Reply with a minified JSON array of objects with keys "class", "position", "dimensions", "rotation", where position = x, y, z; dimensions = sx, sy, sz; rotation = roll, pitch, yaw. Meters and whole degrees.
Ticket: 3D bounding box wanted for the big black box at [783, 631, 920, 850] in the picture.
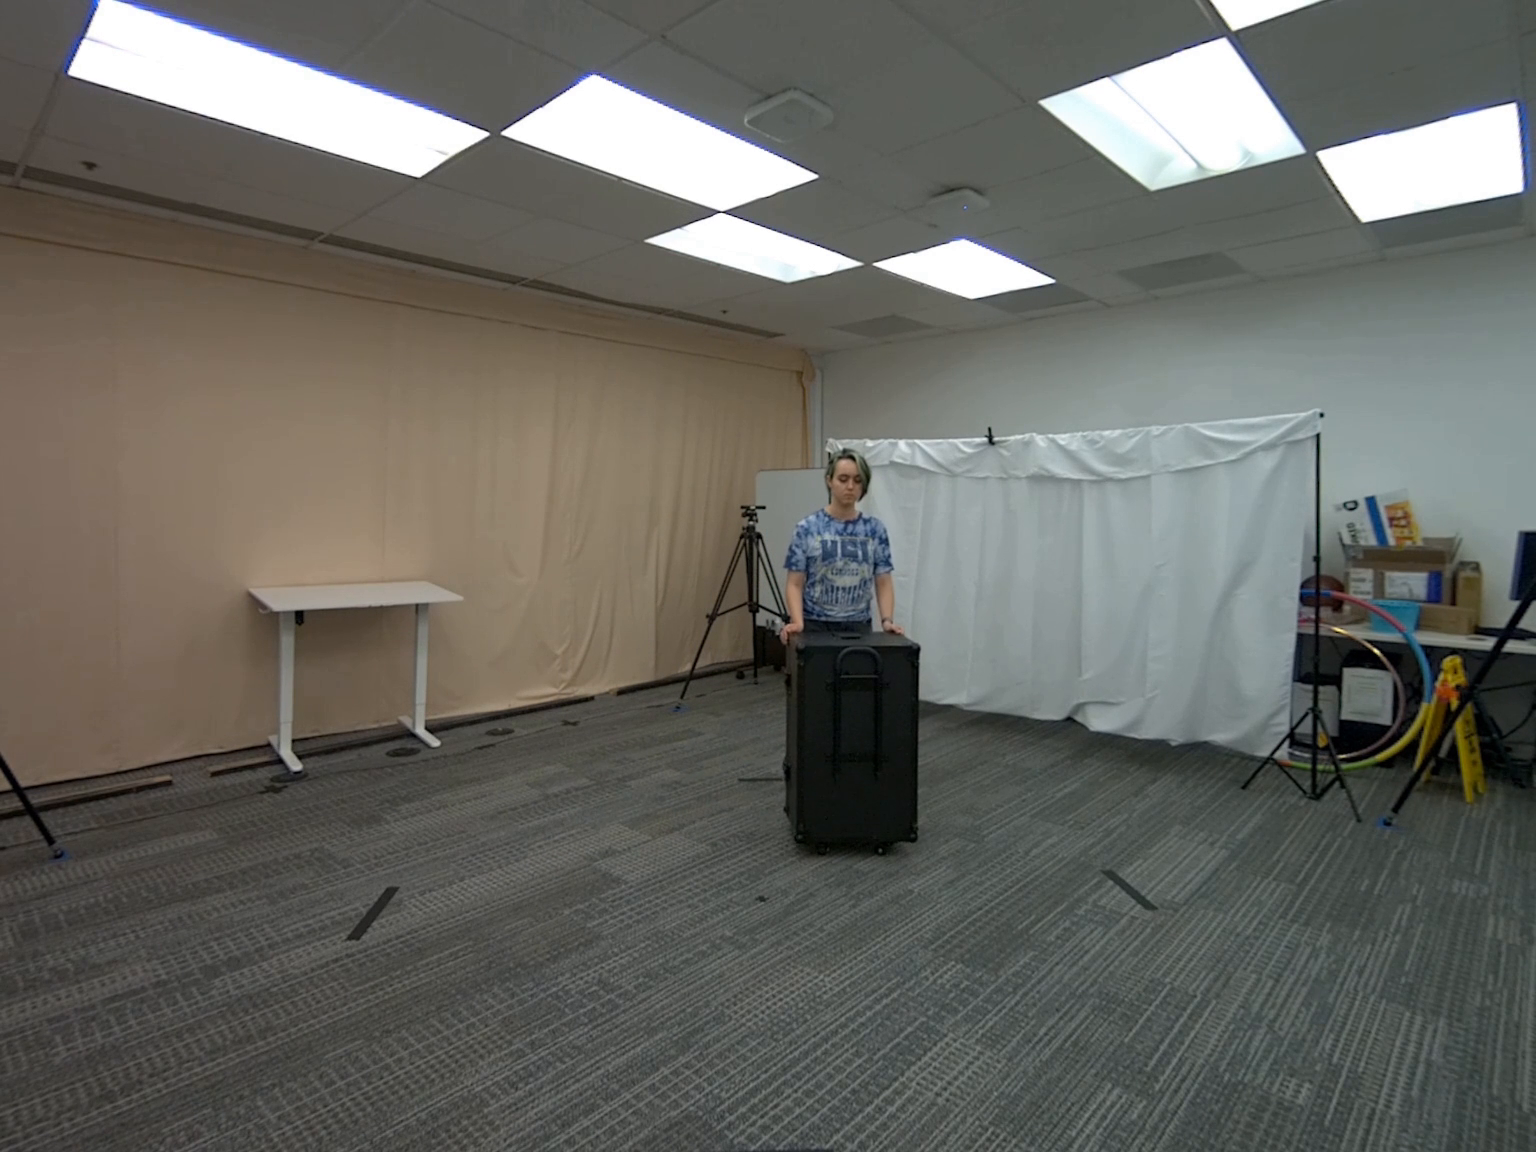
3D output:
[{"class":"big black box","position":[0.339,0.679,3.447],"dimensions":[0.520,0.859,0.399],"rotation":[1,5,-3]}]
